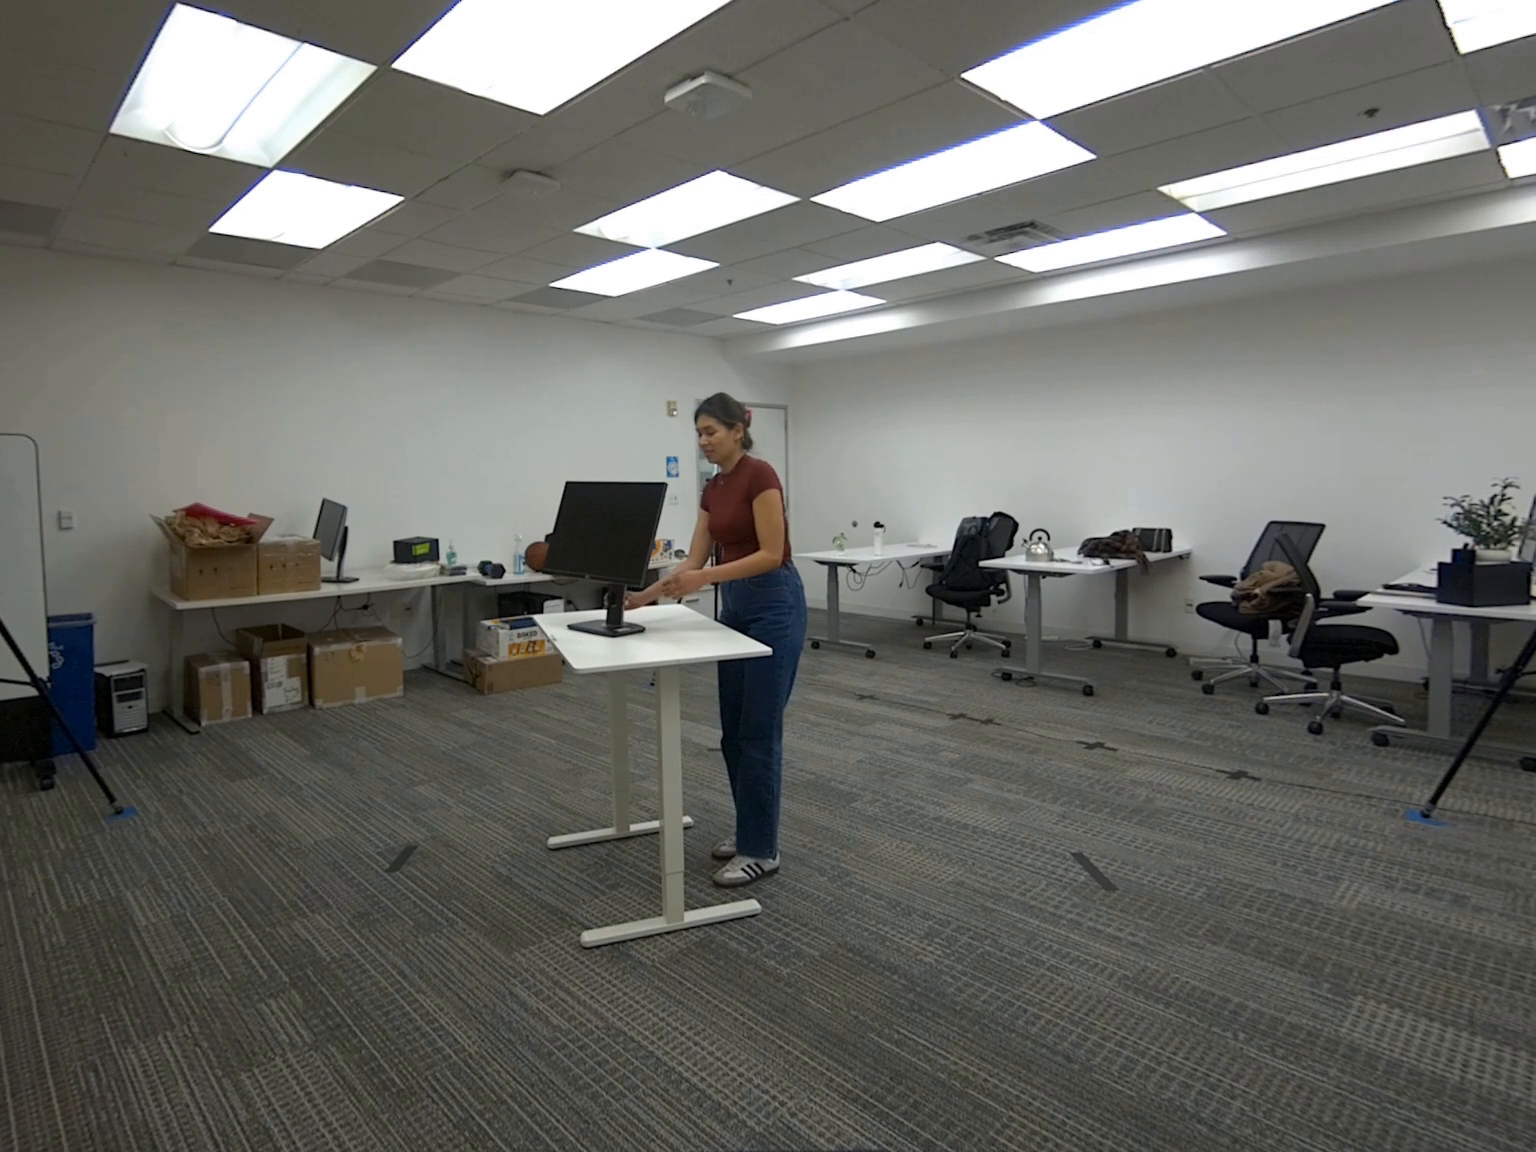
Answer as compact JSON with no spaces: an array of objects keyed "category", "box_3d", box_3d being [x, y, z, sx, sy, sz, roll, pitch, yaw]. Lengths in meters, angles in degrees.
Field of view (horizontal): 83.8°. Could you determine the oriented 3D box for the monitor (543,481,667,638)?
[{"category":"monitor","box_3d":[-0.553,-0.067,2.963,0.556,0.522,0.182,5,3,39]}]
